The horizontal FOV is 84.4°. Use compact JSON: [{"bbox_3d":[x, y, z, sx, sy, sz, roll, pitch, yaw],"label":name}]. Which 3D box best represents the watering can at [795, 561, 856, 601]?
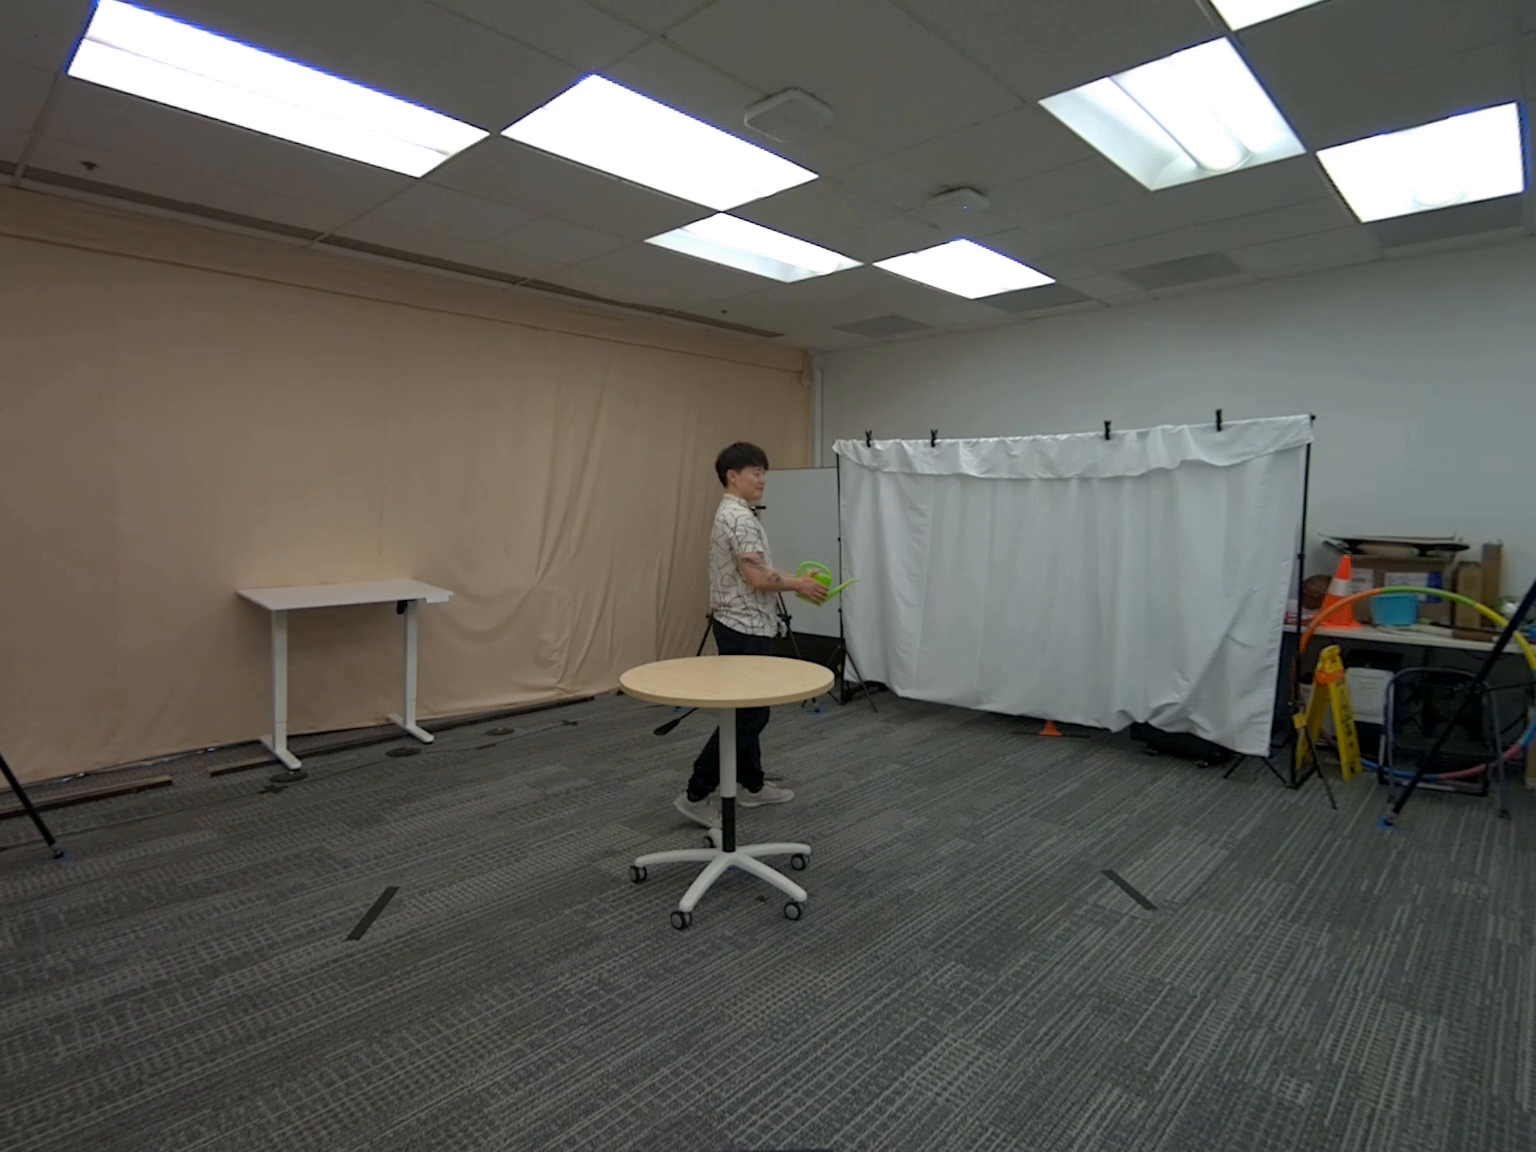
[{"bbox_3d":[0.251,0.059,3.773,0.282,0.177,0.096,22,0,12],"label":"watering can"}]
